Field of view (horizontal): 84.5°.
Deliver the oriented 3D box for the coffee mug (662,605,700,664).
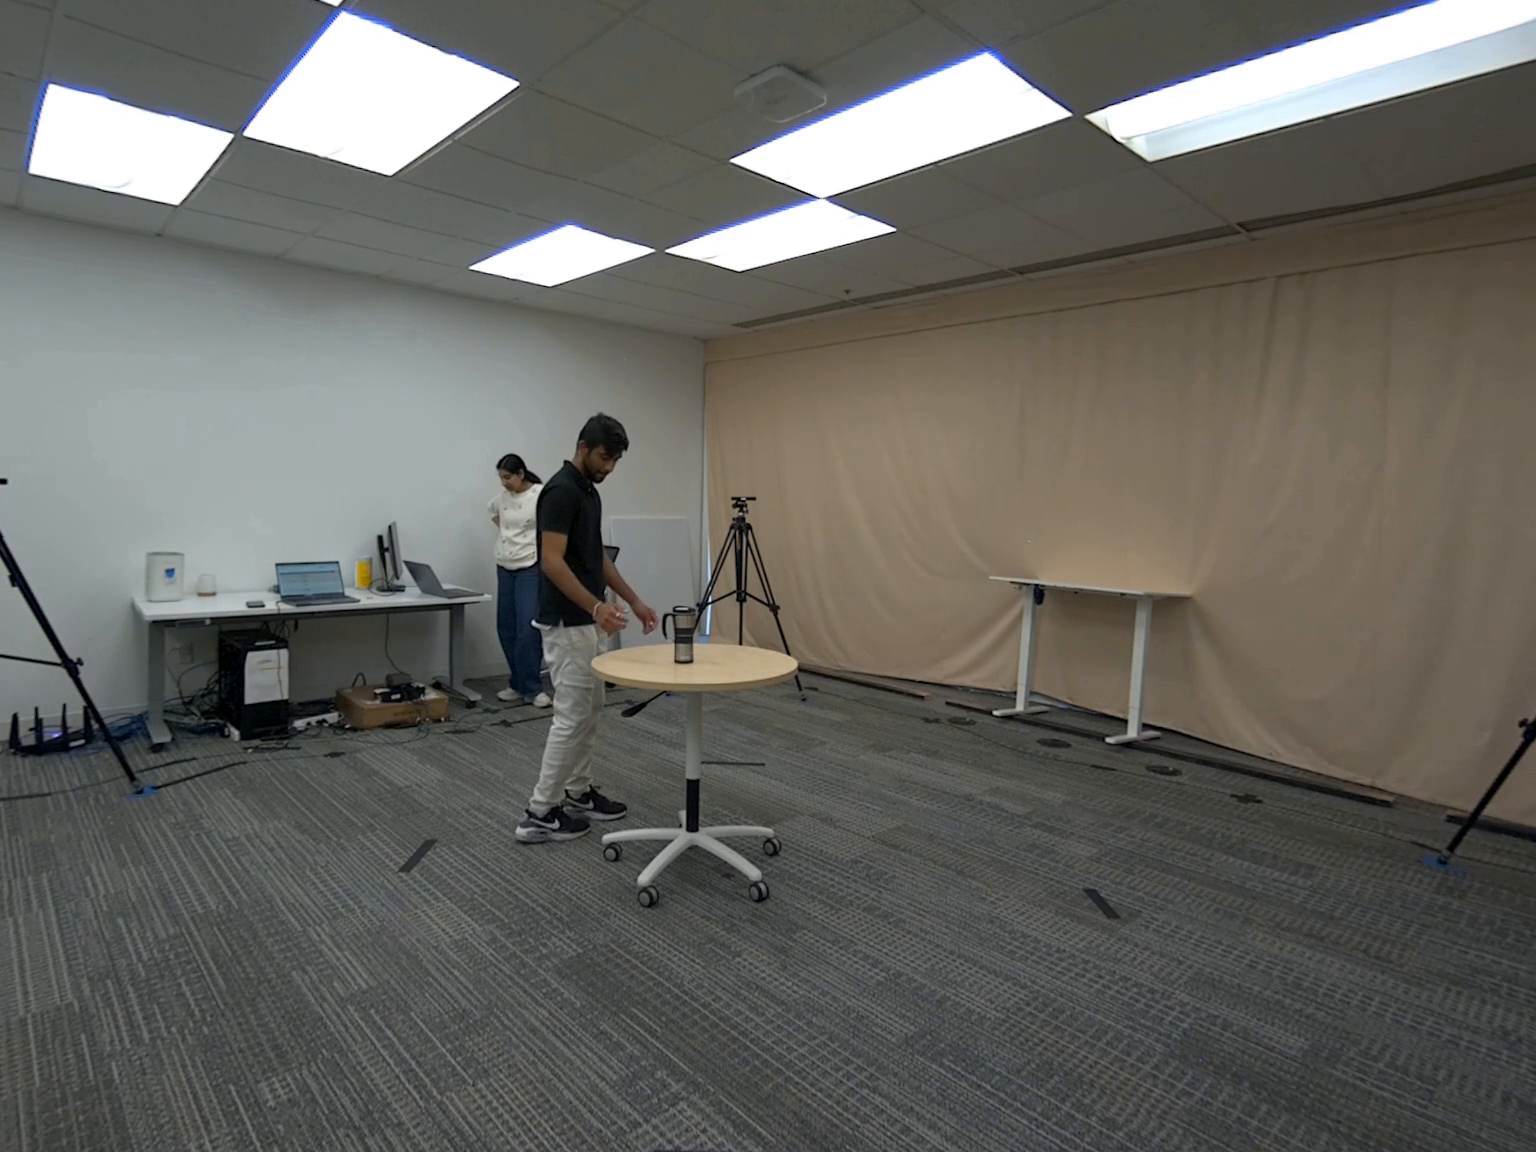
[{"bbox_3d":[-0.342,0.222,3.117,0.124,0.202,0.087,5,7,20],"label":"coffee mug"}]
